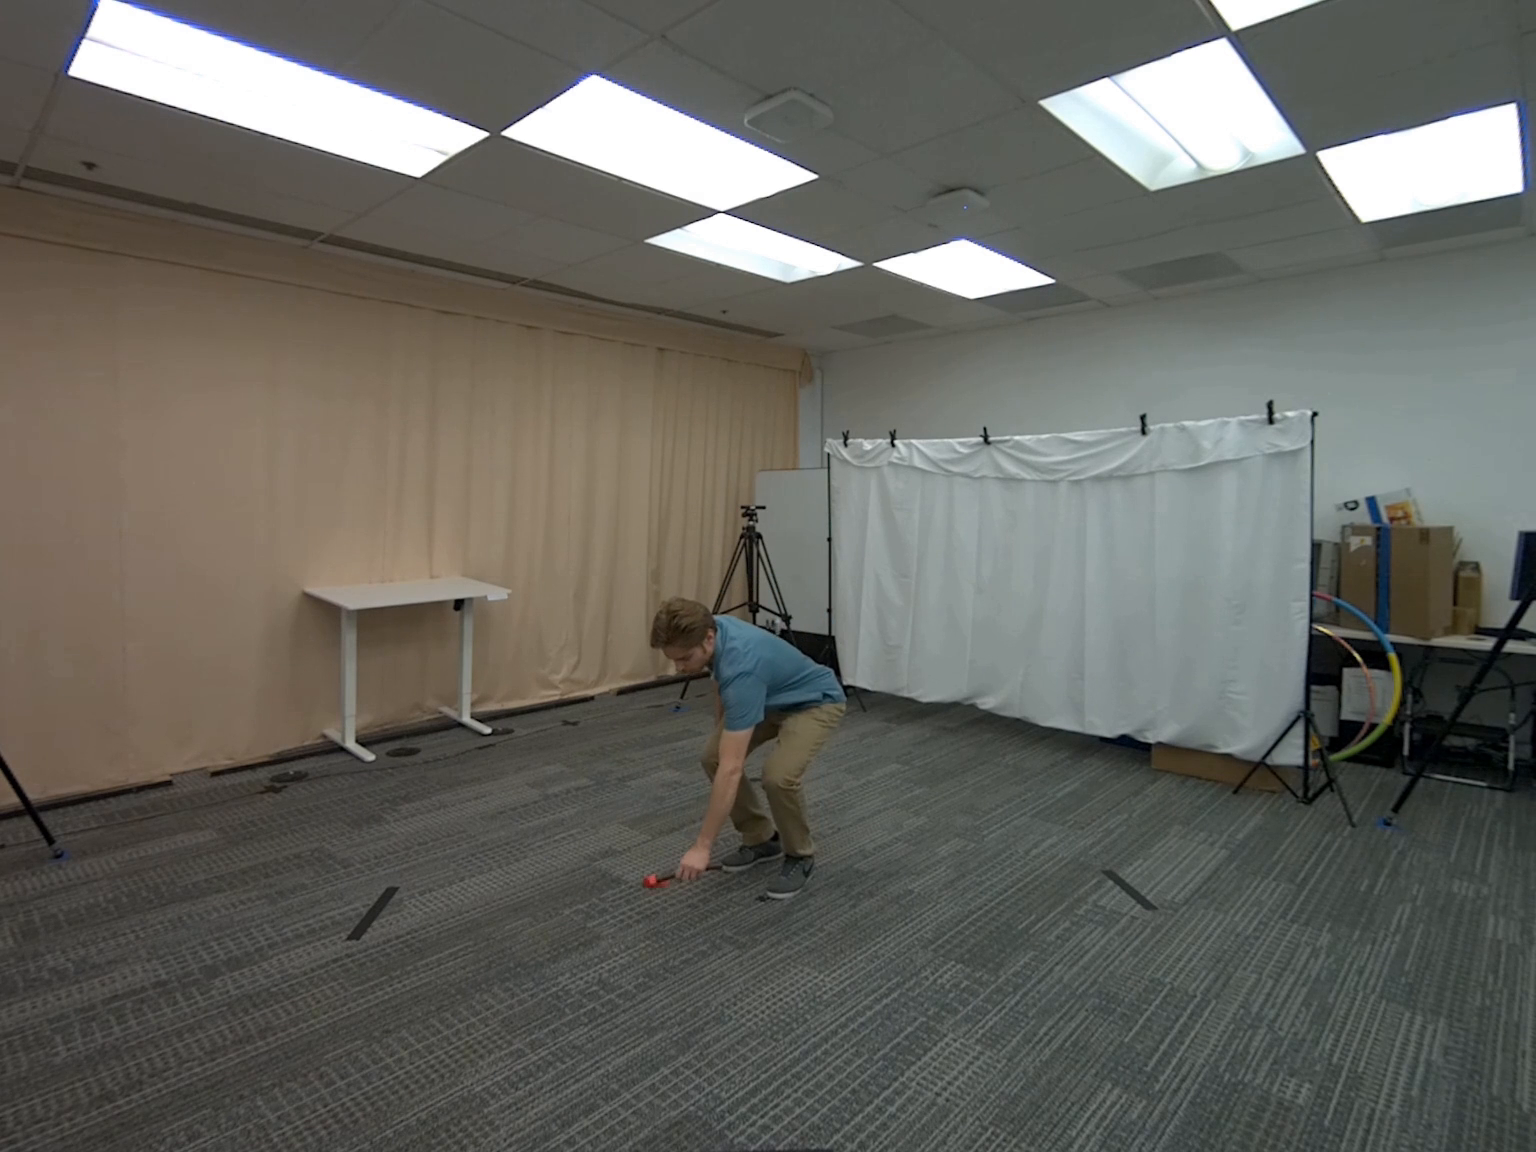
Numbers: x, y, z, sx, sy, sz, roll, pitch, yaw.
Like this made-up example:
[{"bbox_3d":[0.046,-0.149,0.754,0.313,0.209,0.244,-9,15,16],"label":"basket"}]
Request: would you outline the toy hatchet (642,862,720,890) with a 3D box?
[{"bbox_3d":[-0.284,1.007,2.825,0.266,0.030,0.129,-4,-40,-14],"label":"toy hatchet"}]
